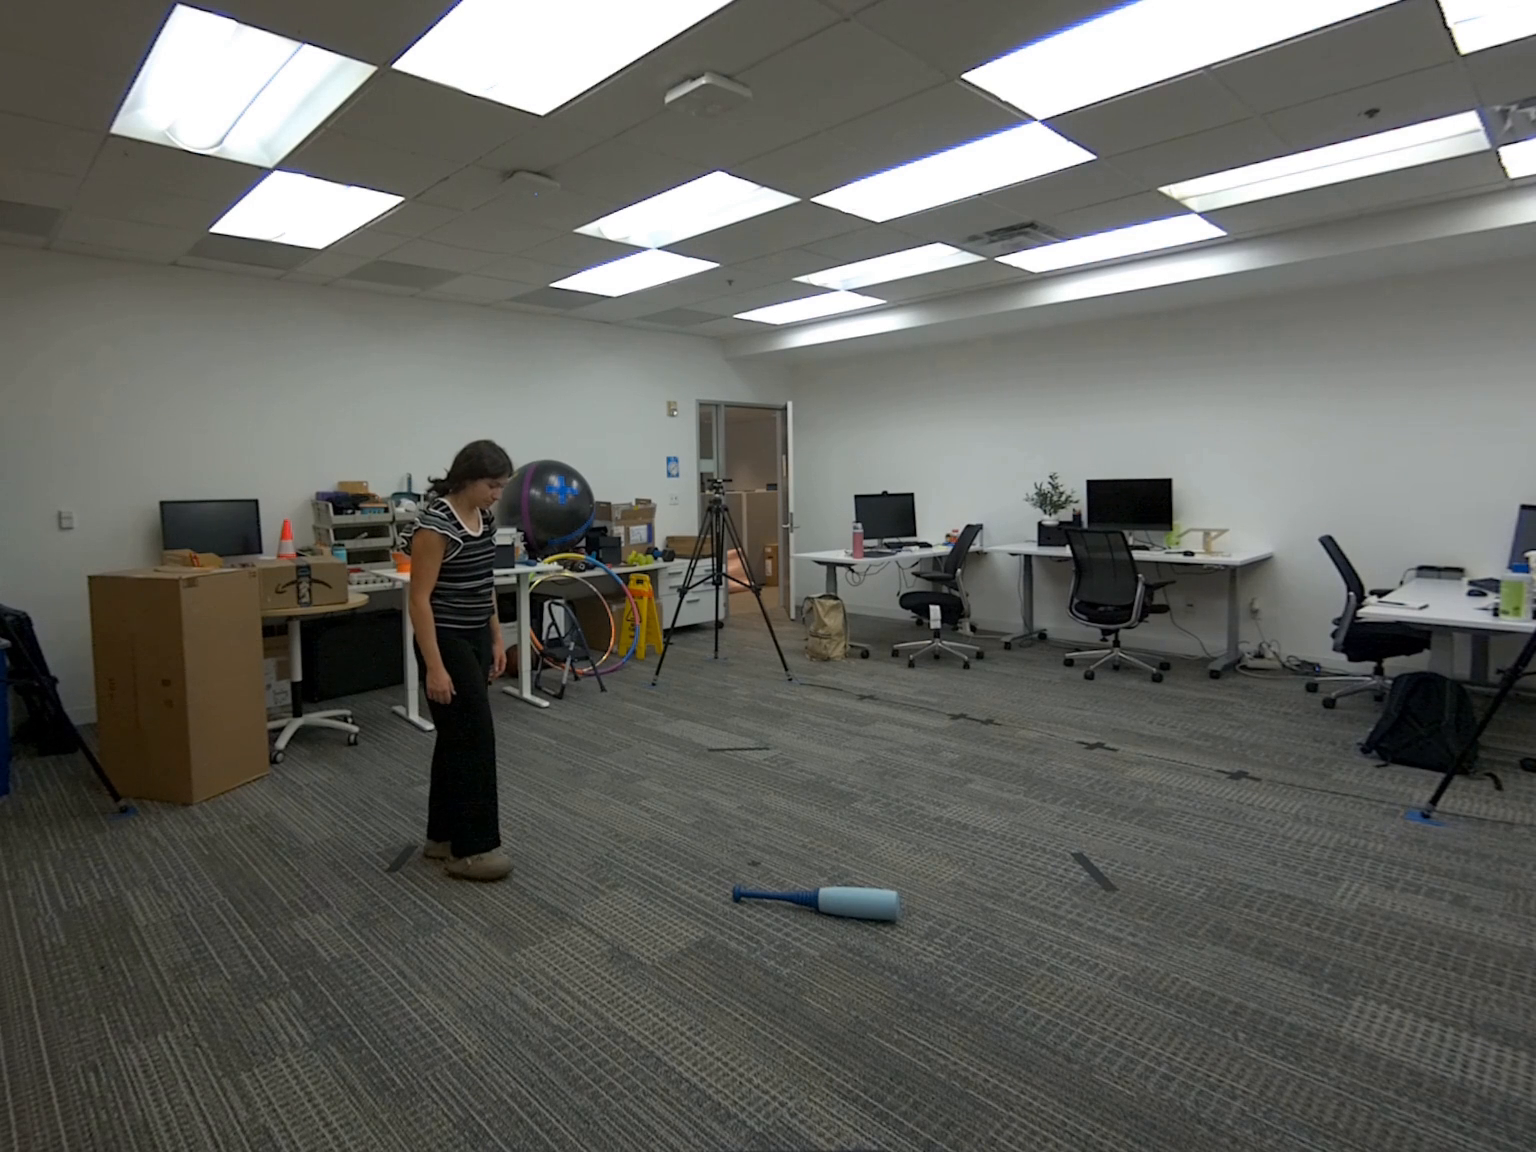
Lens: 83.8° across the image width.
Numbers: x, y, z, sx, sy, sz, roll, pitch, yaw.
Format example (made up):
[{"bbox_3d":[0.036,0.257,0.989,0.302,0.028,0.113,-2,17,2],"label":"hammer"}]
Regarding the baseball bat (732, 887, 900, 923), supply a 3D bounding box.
[{"bbox_3d":[0.154,1.049,2.759,0.551,0.089,0.088,-2,4,17],"label":"baseball bat"}]
